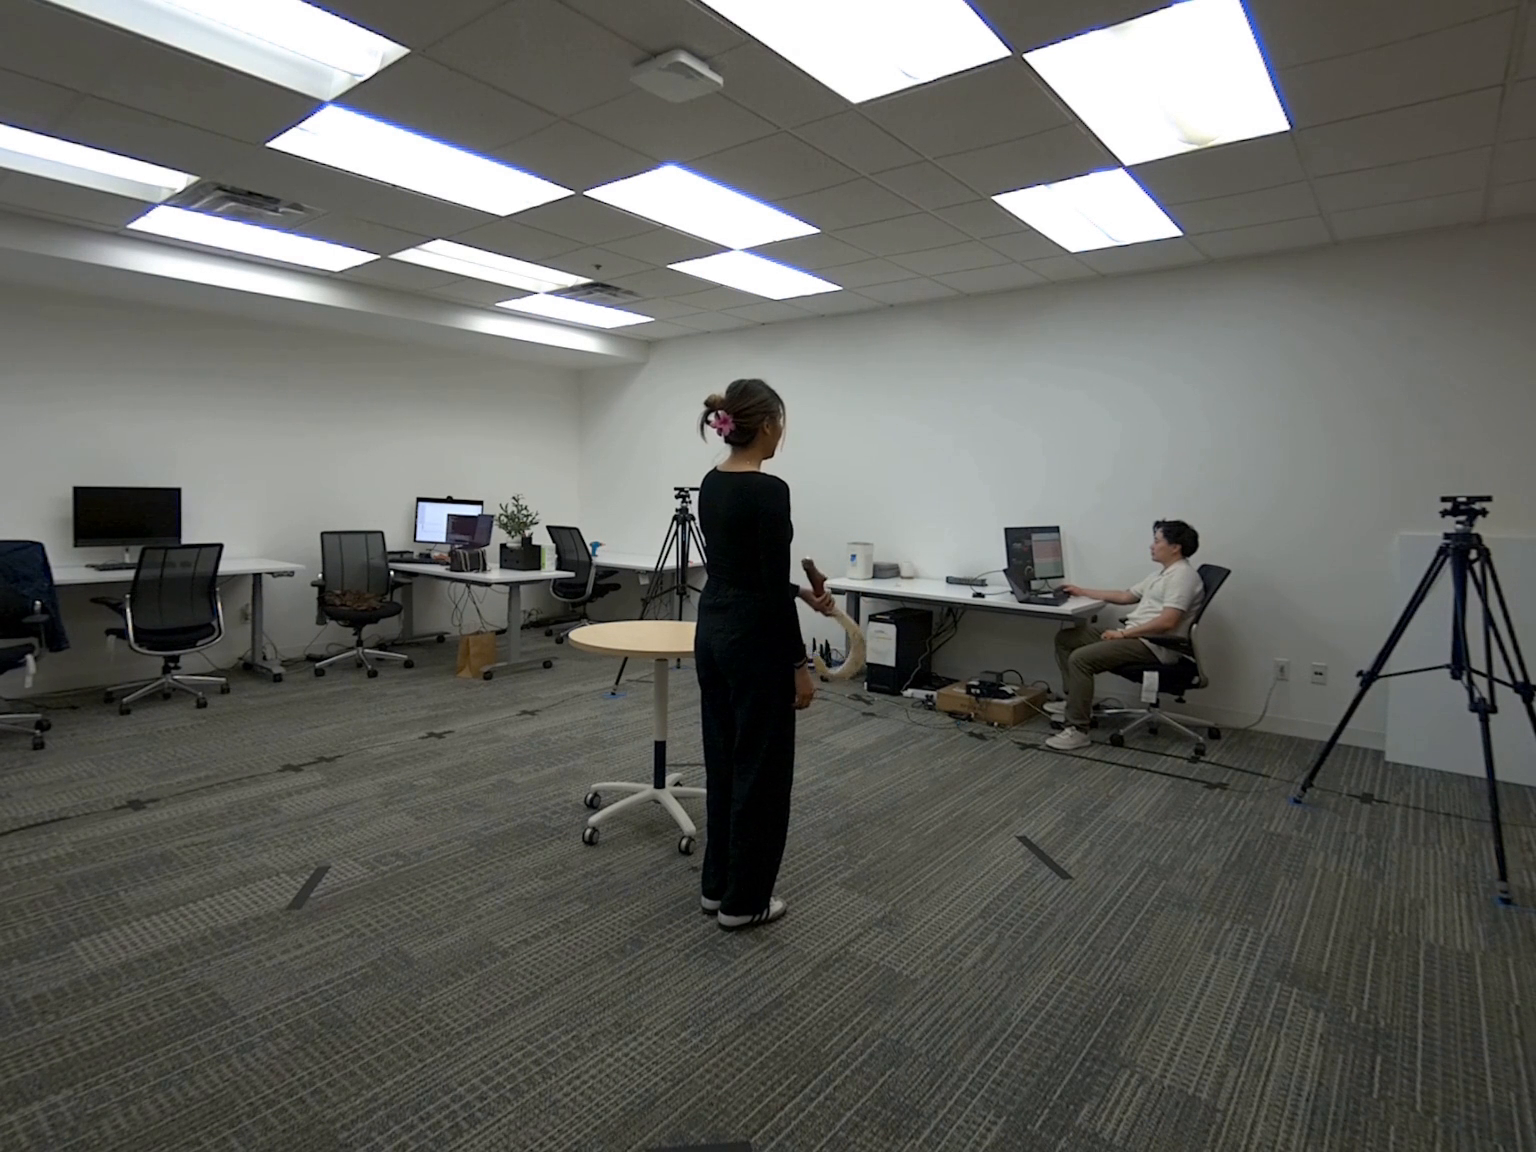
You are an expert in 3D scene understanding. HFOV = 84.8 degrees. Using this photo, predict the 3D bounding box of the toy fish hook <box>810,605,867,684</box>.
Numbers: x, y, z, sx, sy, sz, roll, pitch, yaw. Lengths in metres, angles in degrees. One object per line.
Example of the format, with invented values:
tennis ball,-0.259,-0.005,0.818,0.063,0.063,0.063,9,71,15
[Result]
toy fish hook,0.185,0.142,2.969,0.224,0.492,0.050,-42,26,-23
